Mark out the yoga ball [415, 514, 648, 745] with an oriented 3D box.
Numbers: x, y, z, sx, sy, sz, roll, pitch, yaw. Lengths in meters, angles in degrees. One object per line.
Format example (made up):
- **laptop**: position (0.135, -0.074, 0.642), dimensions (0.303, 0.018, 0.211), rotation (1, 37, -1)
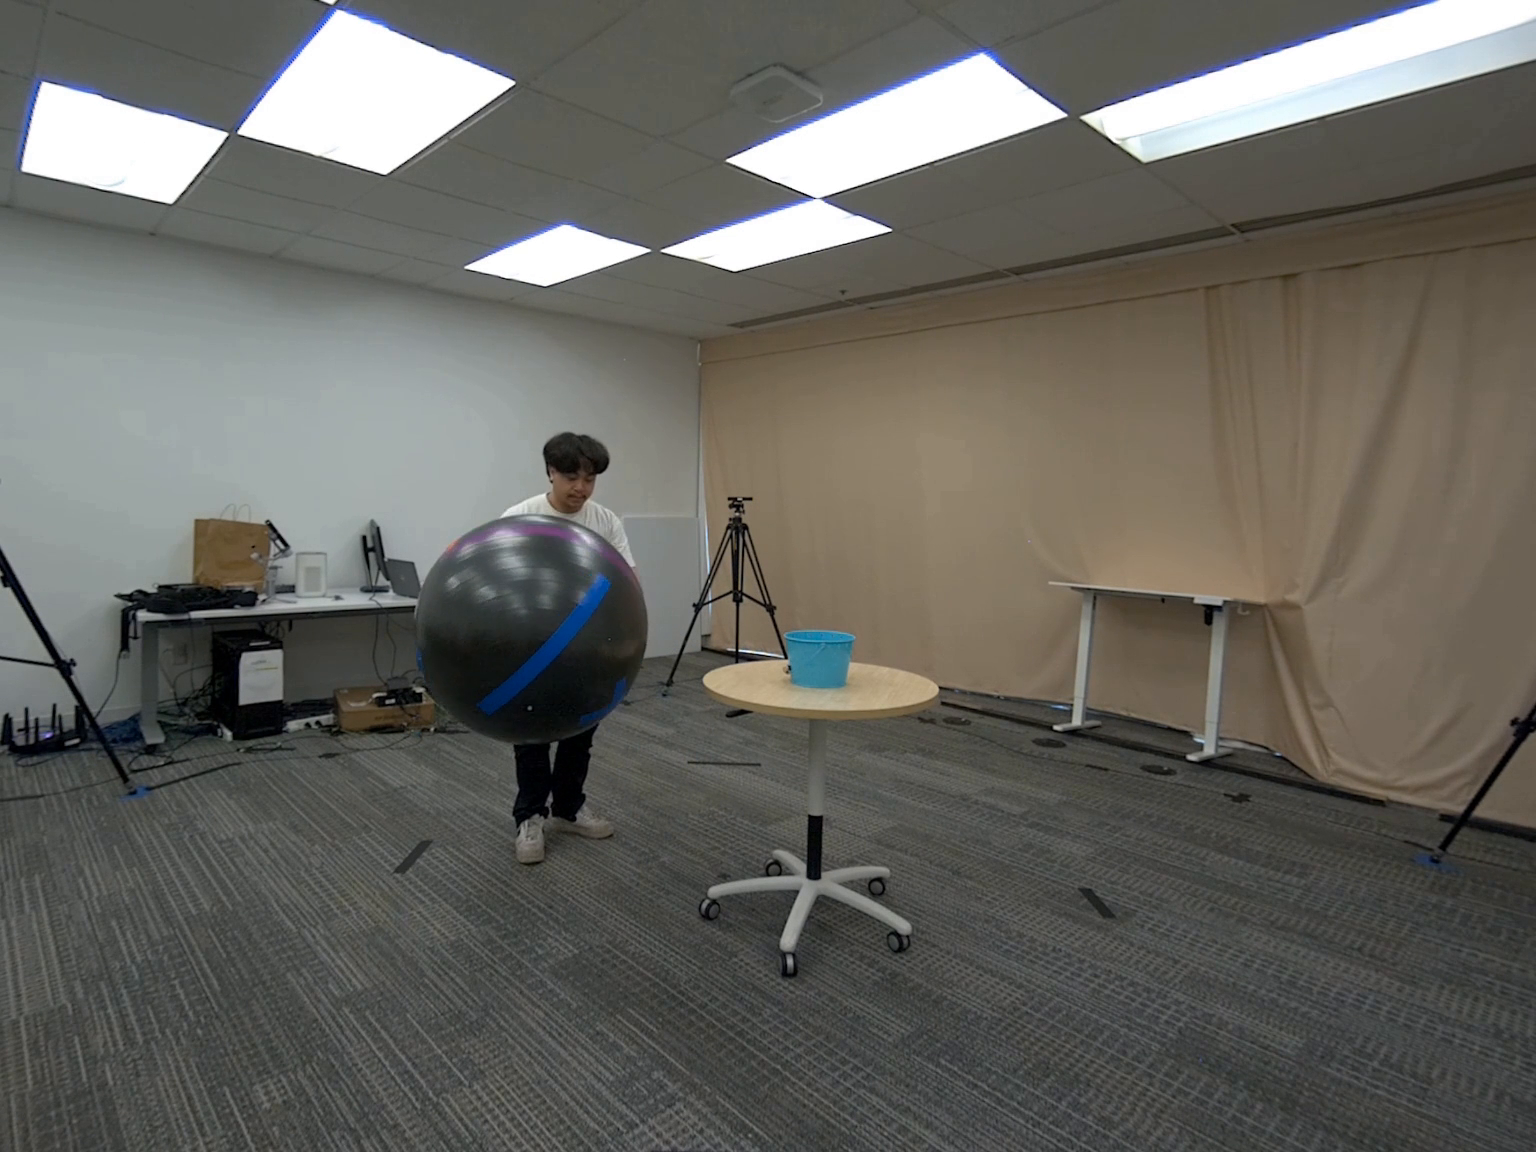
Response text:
- **yoga ball**: position (-0.792, 0.178, 2.801), dimensions (0.757, 0.756, 0.760), rotation (1, 4, -1)
